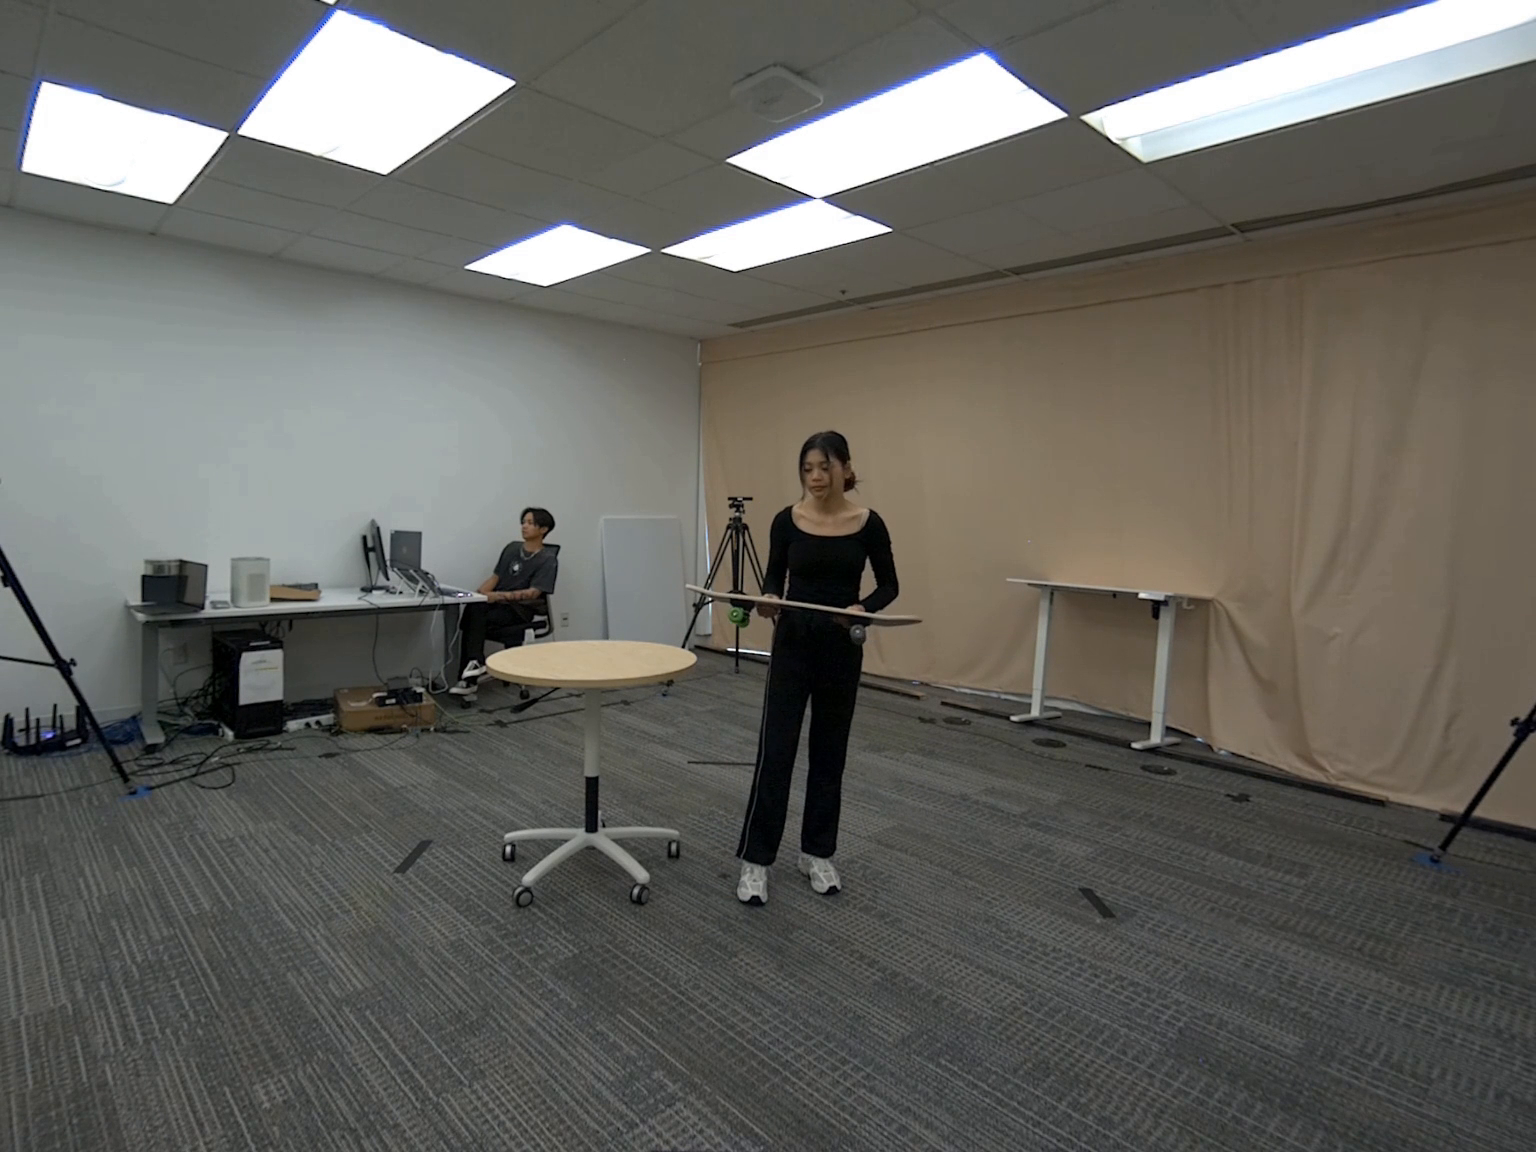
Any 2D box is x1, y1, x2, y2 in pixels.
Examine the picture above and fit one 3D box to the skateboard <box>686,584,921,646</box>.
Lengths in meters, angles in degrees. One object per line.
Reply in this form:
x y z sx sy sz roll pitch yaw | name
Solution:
0.129 0.145 2.806 0.792 0.111 0.191 7 -9 9 | skateboard
